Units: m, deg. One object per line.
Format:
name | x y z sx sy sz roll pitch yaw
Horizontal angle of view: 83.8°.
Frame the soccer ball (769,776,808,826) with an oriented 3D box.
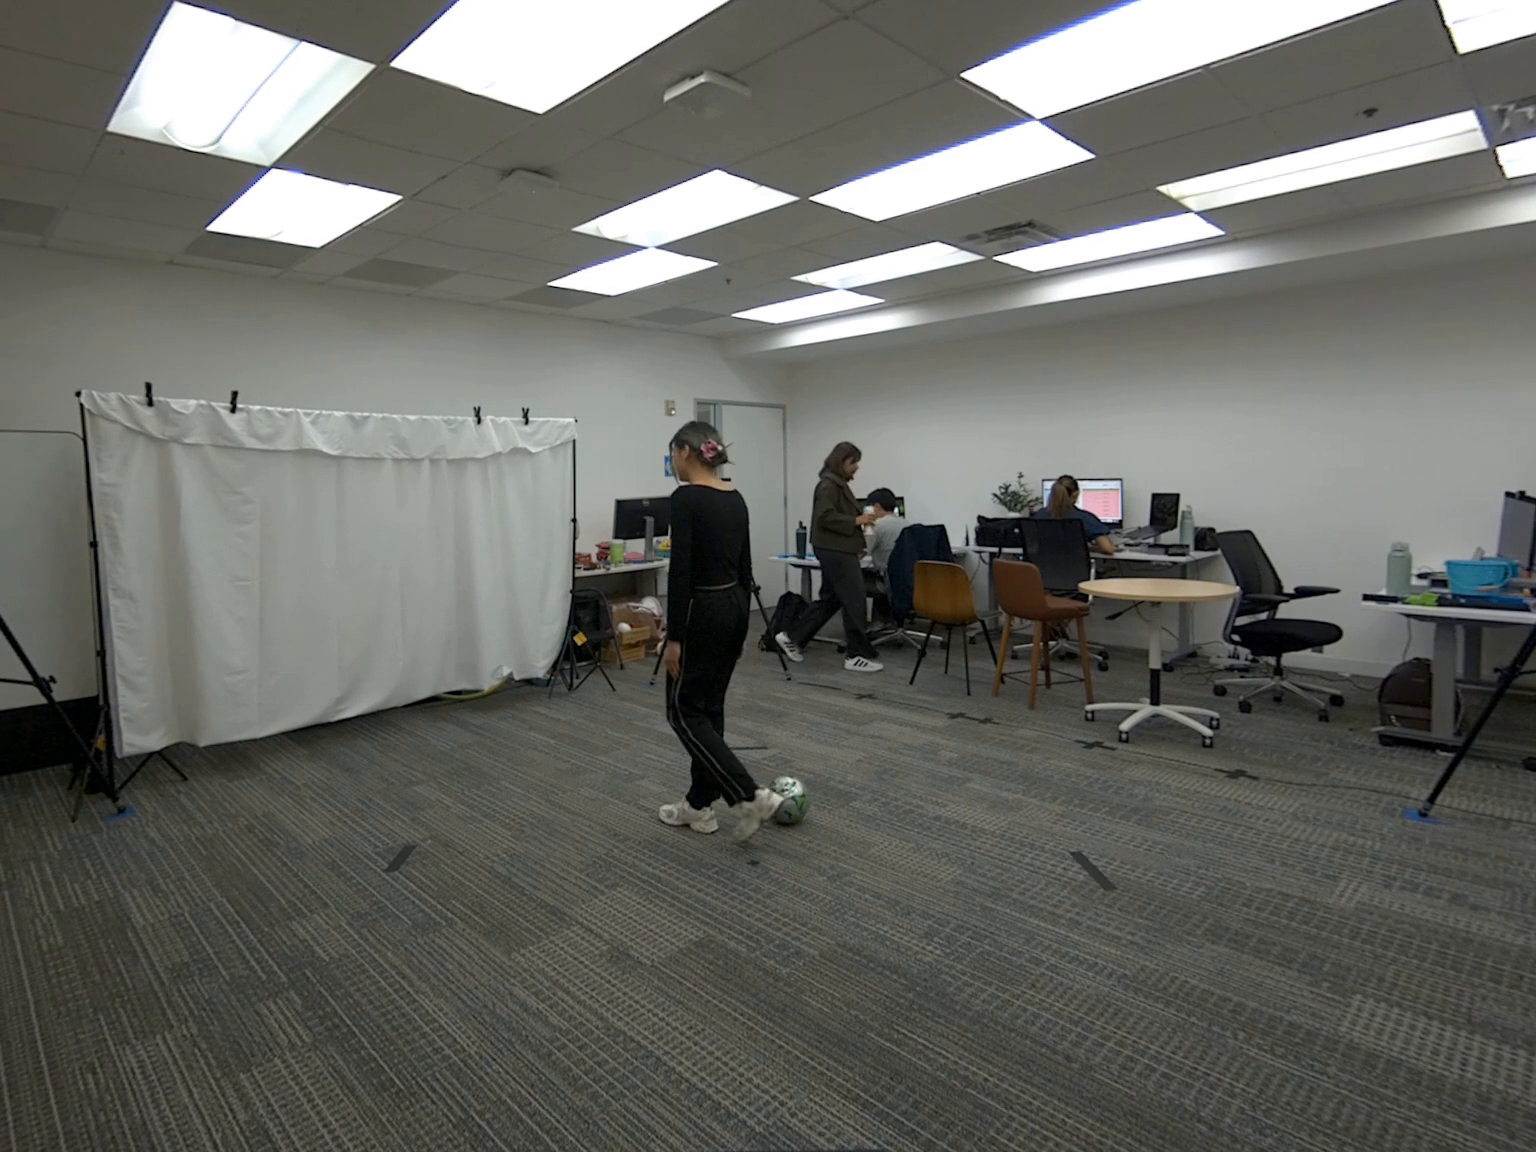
soccer ball | 0.074 0.898 3.465 0.187 0.187 0.188 -1 5 -2
